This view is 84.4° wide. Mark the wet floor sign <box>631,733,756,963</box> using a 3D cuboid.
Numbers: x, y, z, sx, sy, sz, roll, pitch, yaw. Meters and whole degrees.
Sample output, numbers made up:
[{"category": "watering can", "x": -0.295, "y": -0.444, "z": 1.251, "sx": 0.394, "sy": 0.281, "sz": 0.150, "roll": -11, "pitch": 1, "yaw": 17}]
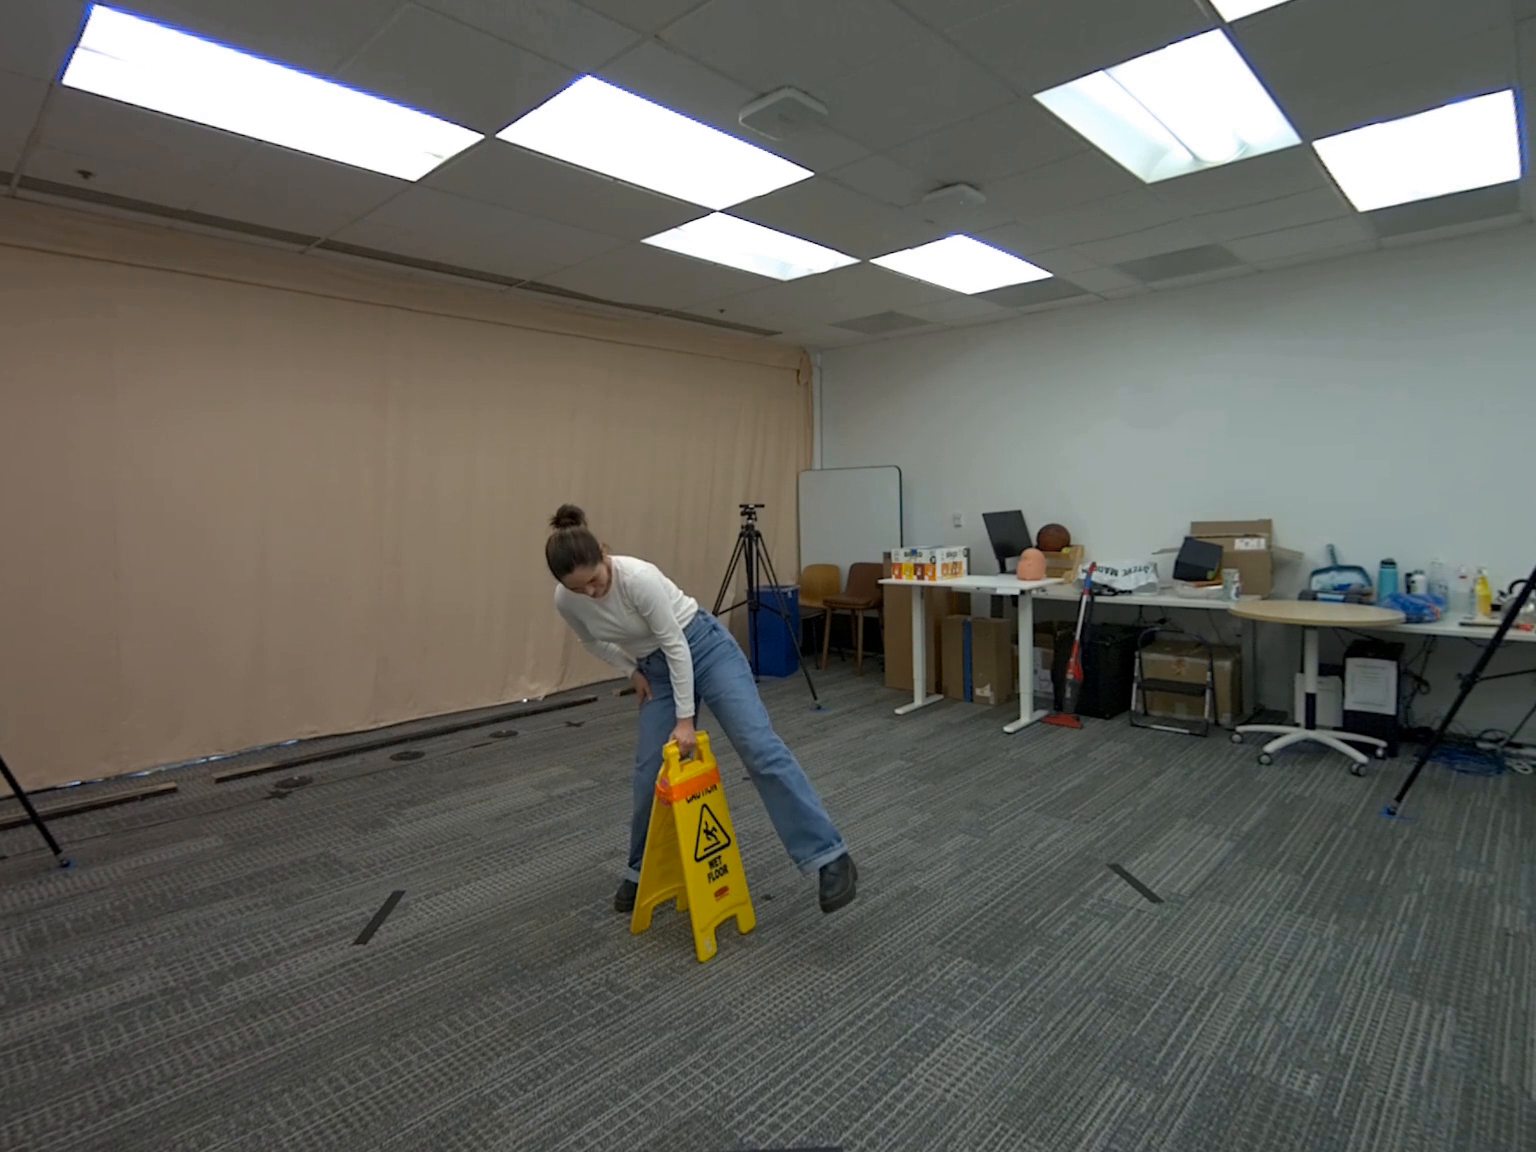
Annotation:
[{"category": "wet floor sign", "x": -0.251, "y": 0.846, "z": 2.733, "sx": 0.299, "sy": 0.645, "sz": 0.274, "roll": -1, "pitch": 3, "yaw": 39}]
